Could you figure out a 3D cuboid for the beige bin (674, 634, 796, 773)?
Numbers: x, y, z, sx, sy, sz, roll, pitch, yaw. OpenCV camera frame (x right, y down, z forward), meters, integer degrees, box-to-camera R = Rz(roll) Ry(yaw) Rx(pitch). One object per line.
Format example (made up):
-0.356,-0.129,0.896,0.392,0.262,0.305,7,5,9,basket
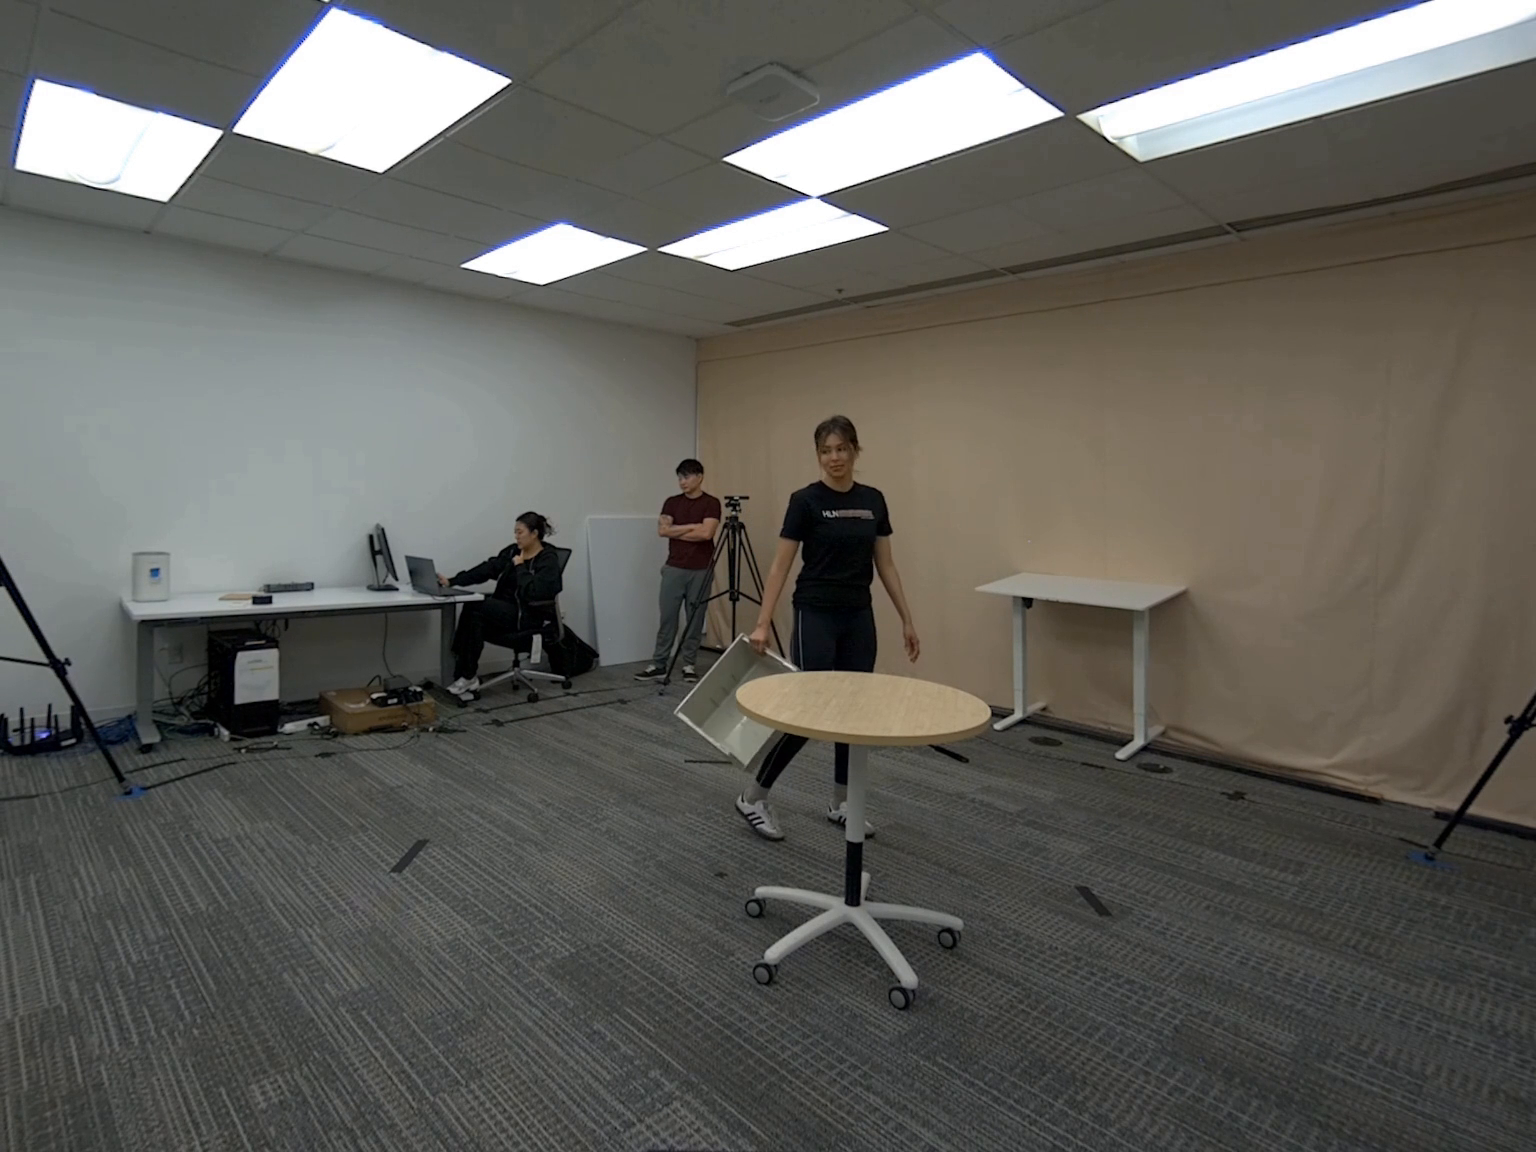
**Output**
-0.084,0.504,3.295,0.389,0.422,0.183,26,-21,46,beige bin
